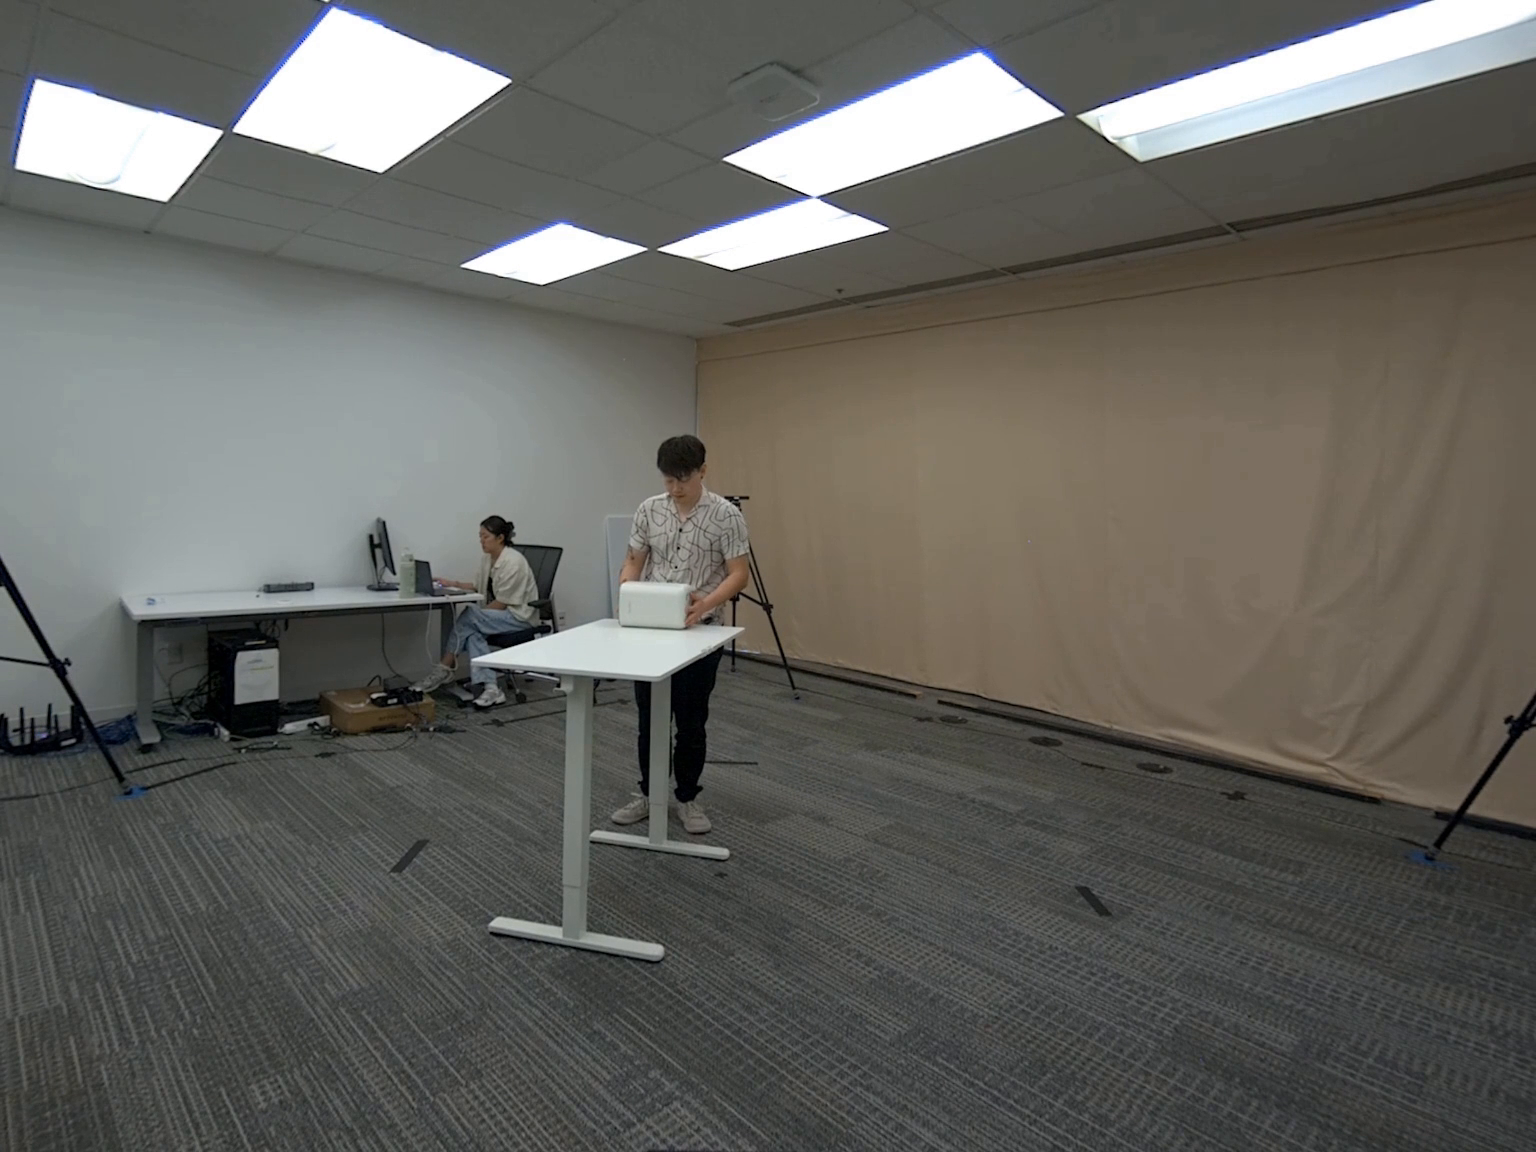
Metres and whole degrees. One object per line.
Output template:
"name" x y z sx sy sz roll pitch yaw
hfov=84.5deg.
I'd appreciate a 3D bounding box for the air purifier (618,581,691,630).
"air purifier" -0.453 0.113 3.290 0.267 0.170 0.171 2 5 9
